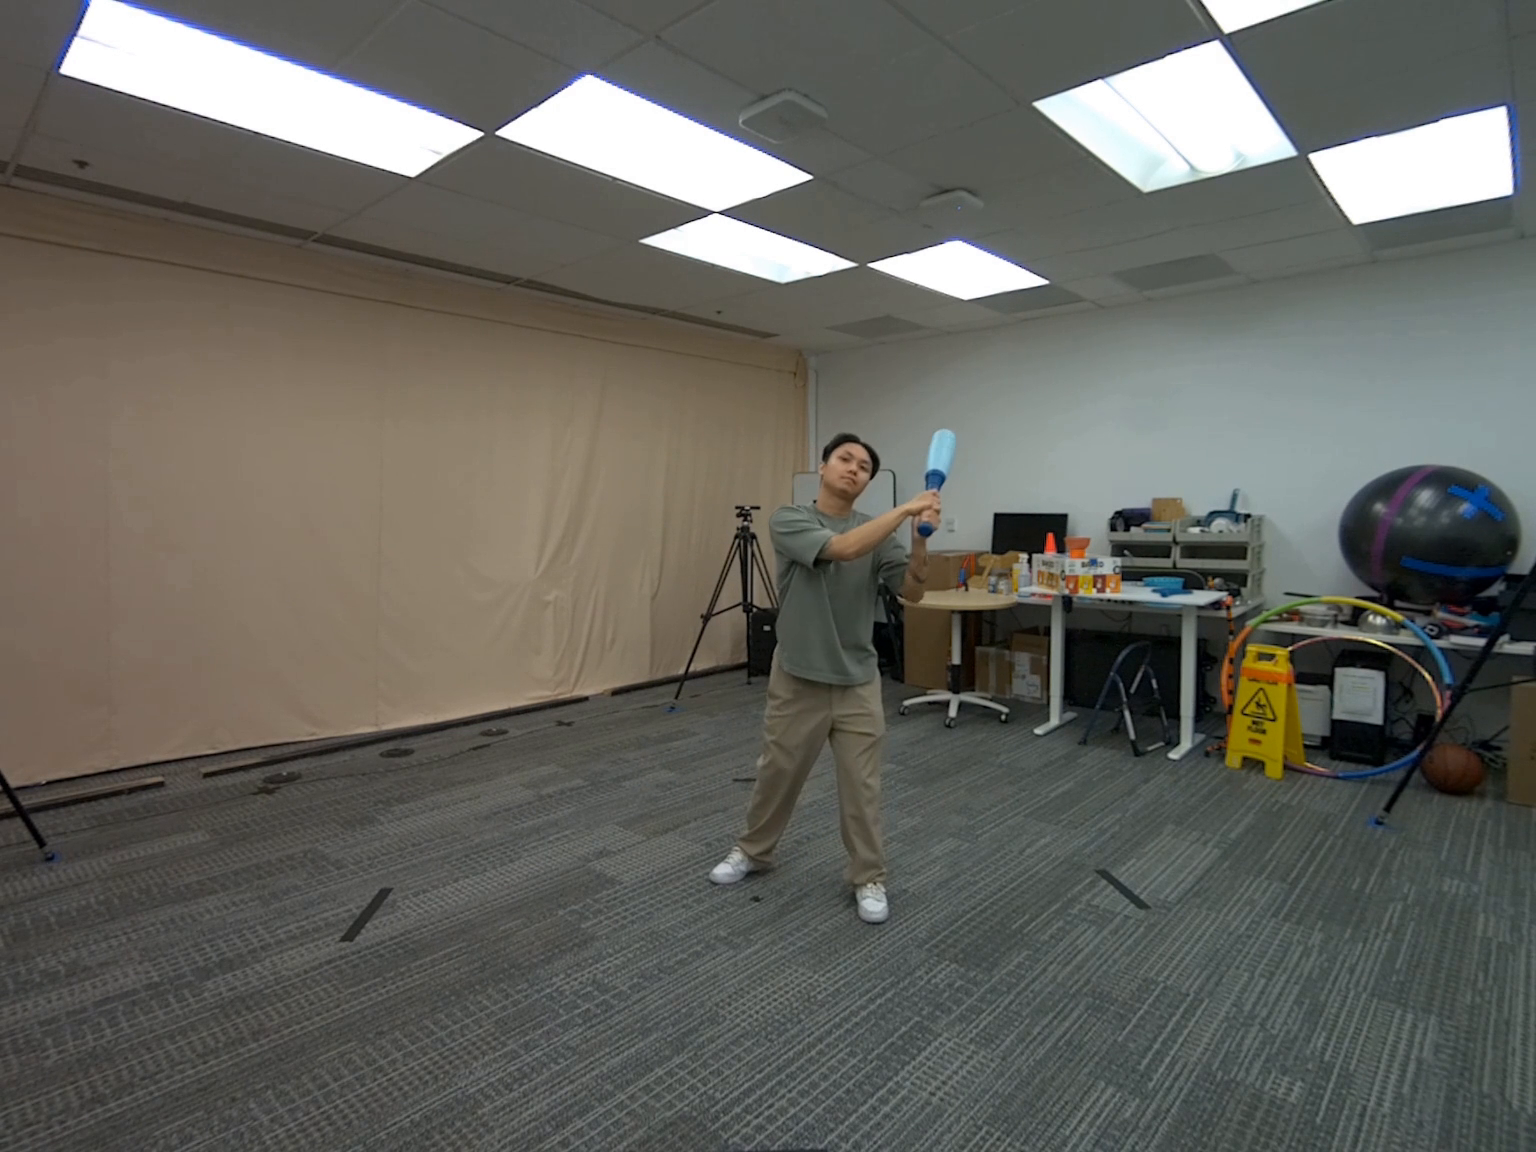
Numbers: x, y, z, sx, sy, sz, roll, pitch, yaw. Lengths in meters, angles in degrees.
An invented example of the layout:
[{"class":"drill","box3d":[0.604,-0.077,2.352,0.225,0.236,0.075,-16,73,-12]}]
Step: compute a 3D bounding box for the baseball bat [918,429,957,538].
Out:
[{"class":"baseball bat","box3d":[0.554,-0.302,2.813,0.091,0.087,0.545,1,42,21]}]
